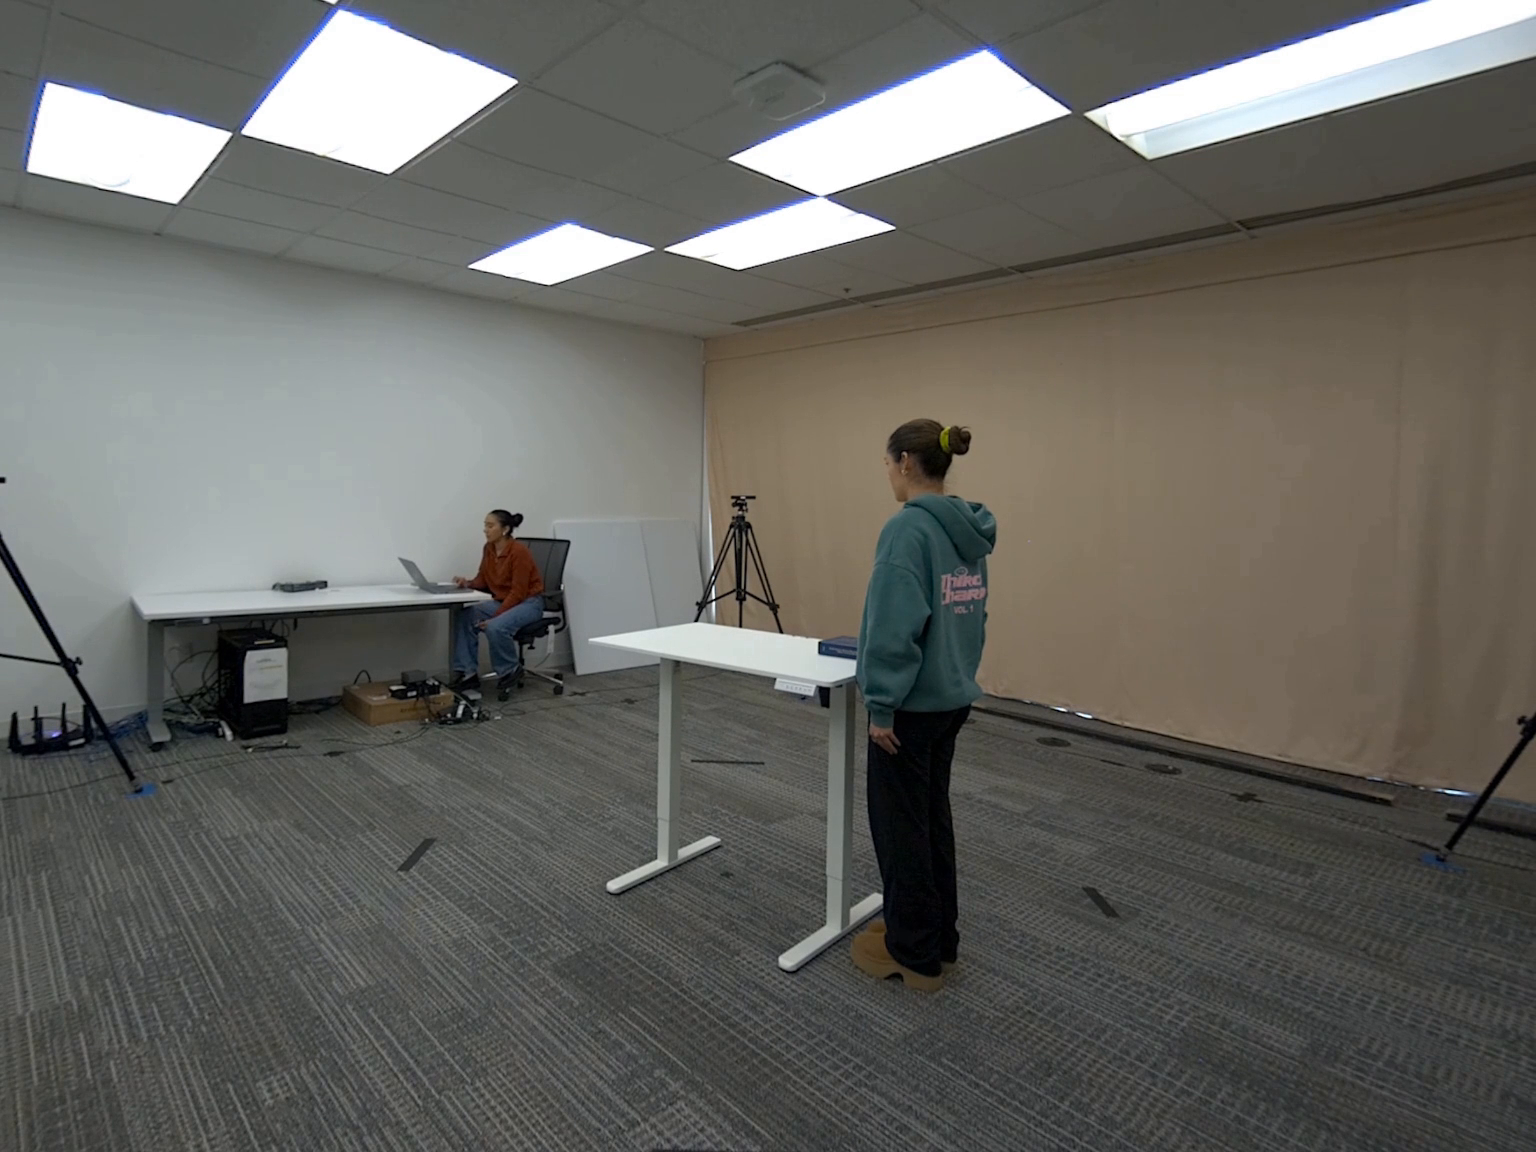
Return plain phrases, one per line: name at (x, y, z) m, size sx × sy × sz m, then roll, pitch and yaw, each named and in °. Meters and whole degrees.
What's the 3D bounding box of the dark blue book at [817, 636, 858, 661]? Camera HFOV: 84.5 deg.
dark blue book at (0.311, 0.244, 2.743) m, size 0.251 × 0.045 × 0.160 m, roll 5°, pitch 6°, yaw 34°
